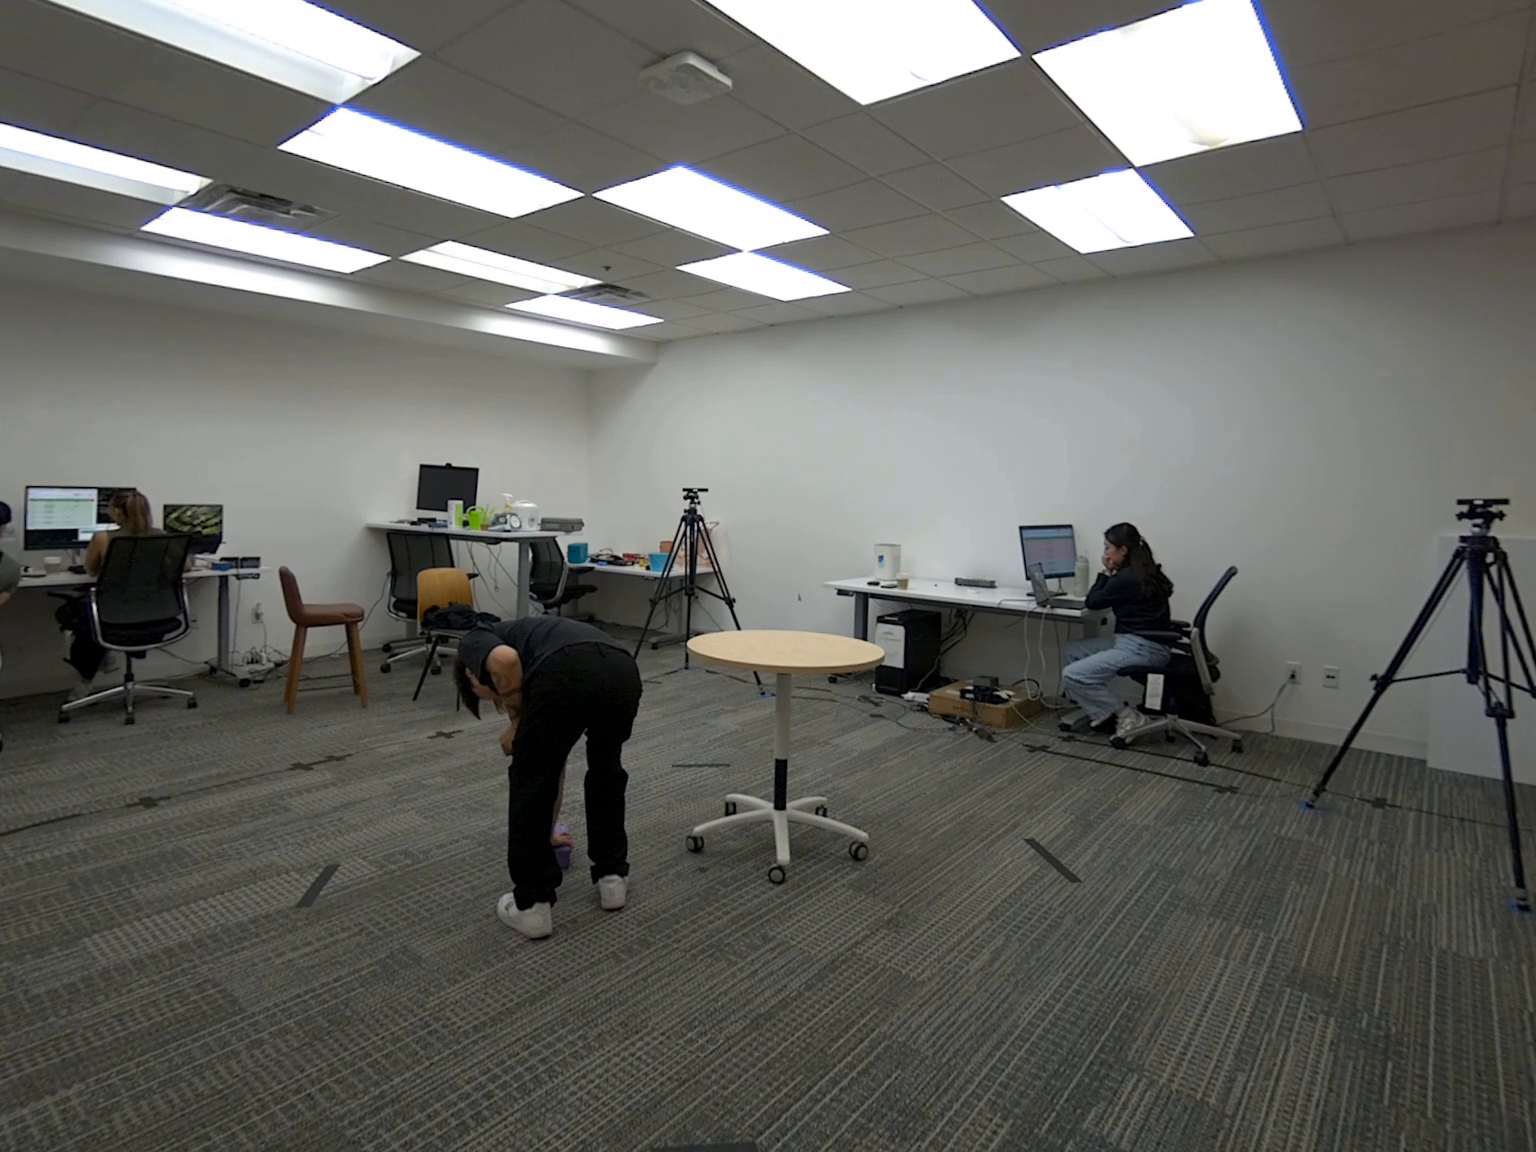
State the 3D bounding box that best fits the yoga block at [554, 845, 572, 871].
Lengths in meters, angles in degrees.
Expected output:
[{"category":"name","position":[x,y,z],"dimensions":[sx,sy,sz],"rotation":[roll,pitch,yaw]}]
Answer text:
[{"category":"yoga block","position":[-0.822,1.009,3.181],"dimensions":[0.147,0.076,0.233],"rotation":[1,5,-14]}]
